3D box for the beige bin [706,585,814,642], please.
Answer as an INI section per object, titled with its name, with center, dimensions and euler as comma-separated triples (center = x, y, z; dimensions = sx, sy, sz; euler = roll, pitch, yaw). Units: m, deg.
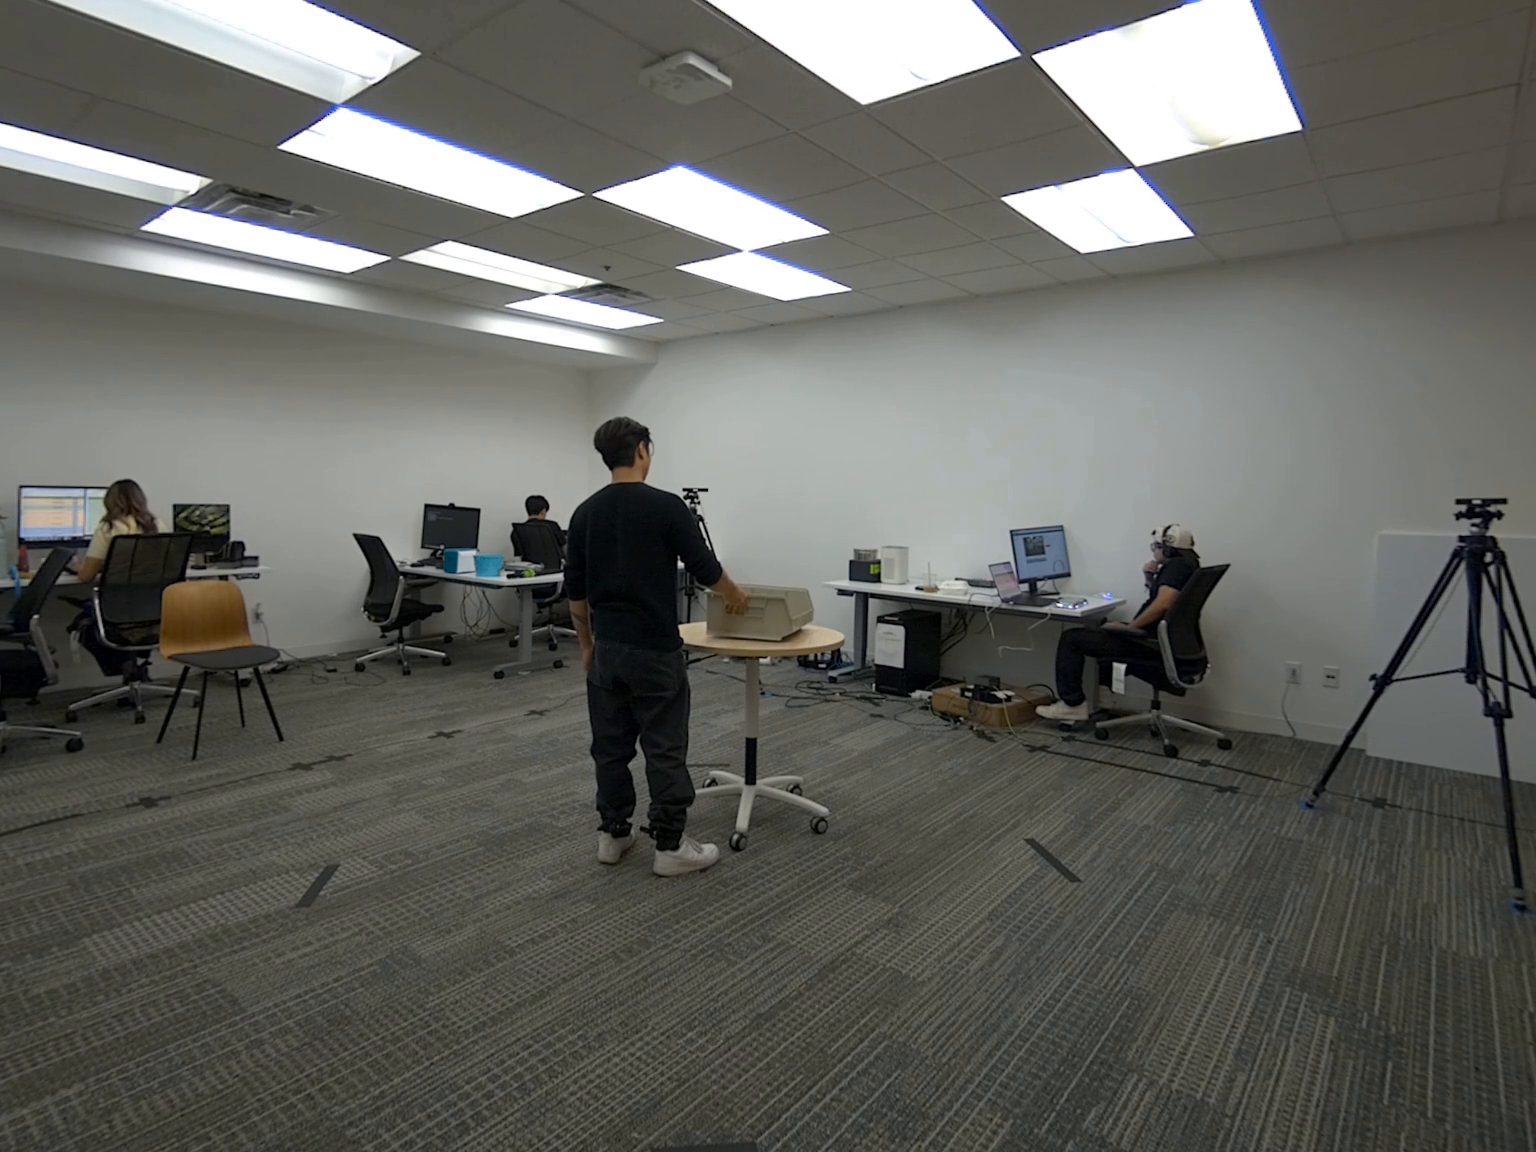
[beige bin]
center = -0.041, 0.148, 3.614
dimensions = 0.384, 0.188, 0.416
euler = 3, 5, 15
